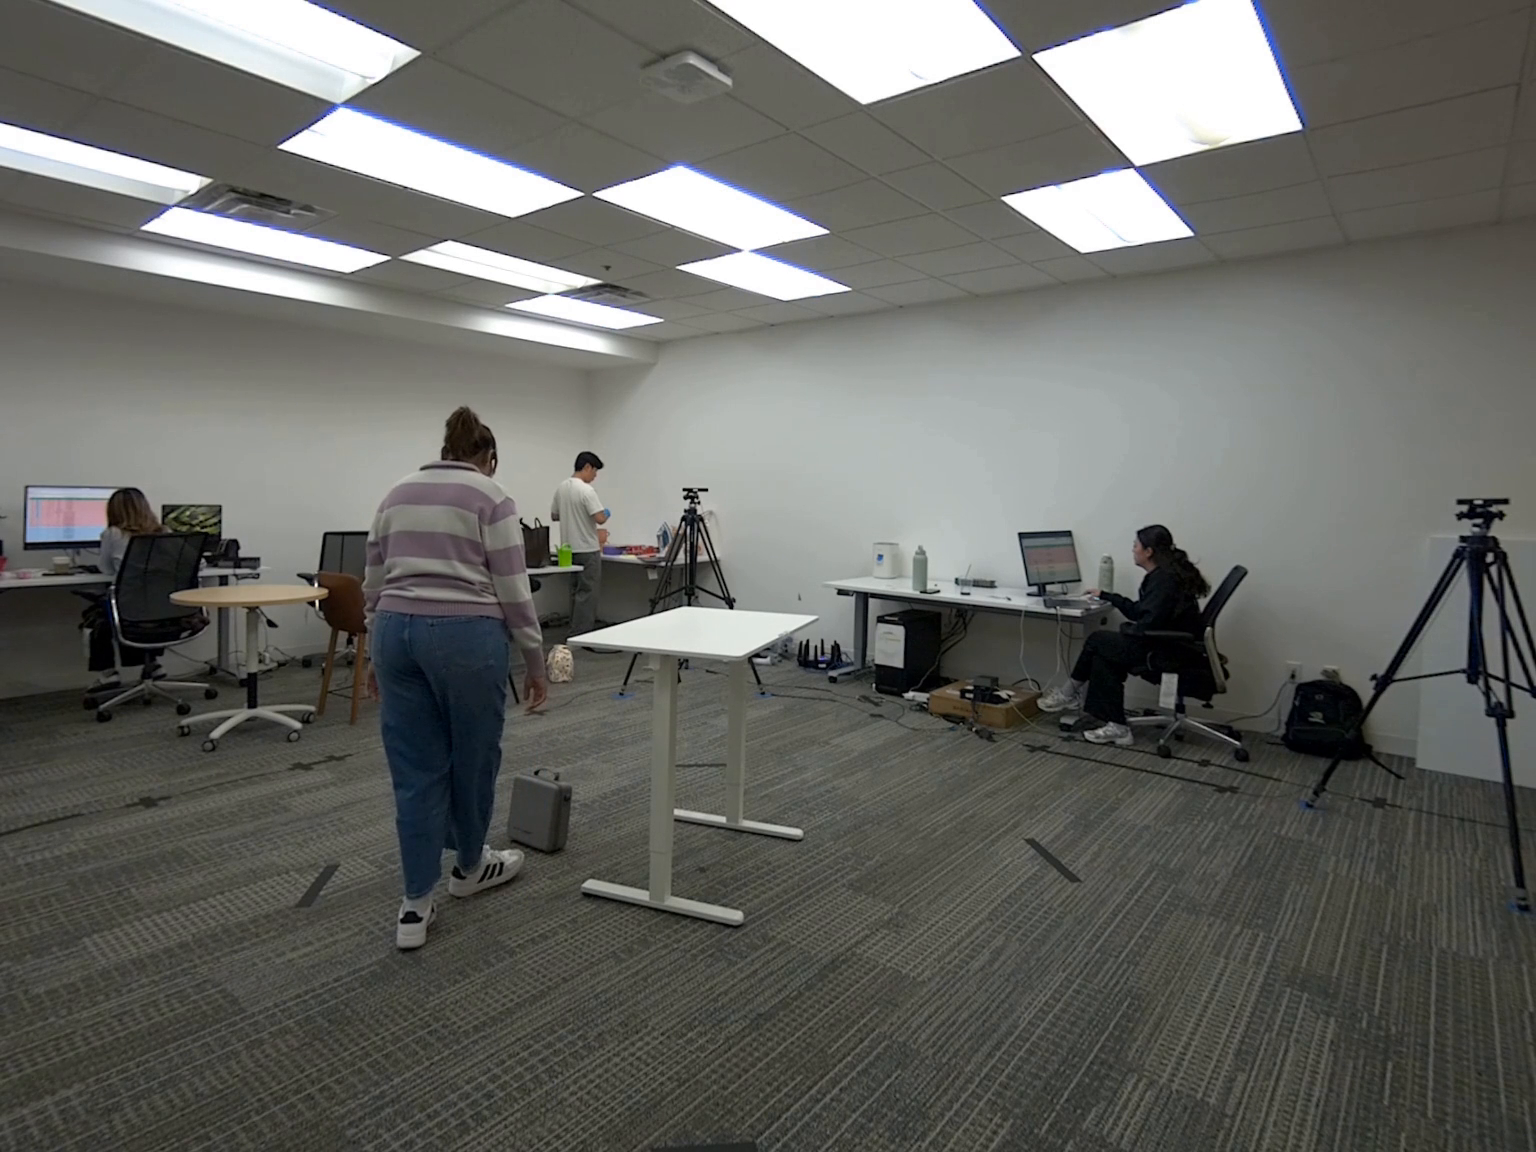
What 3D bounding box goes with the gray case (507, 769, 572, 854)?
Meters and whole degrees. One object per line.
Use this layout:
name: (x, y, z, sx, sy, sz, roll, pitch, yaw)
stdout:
gray case: (-0.905, 0.907, 3.310, 0.265, 0.262, 0.100, 3, -6, 35)
